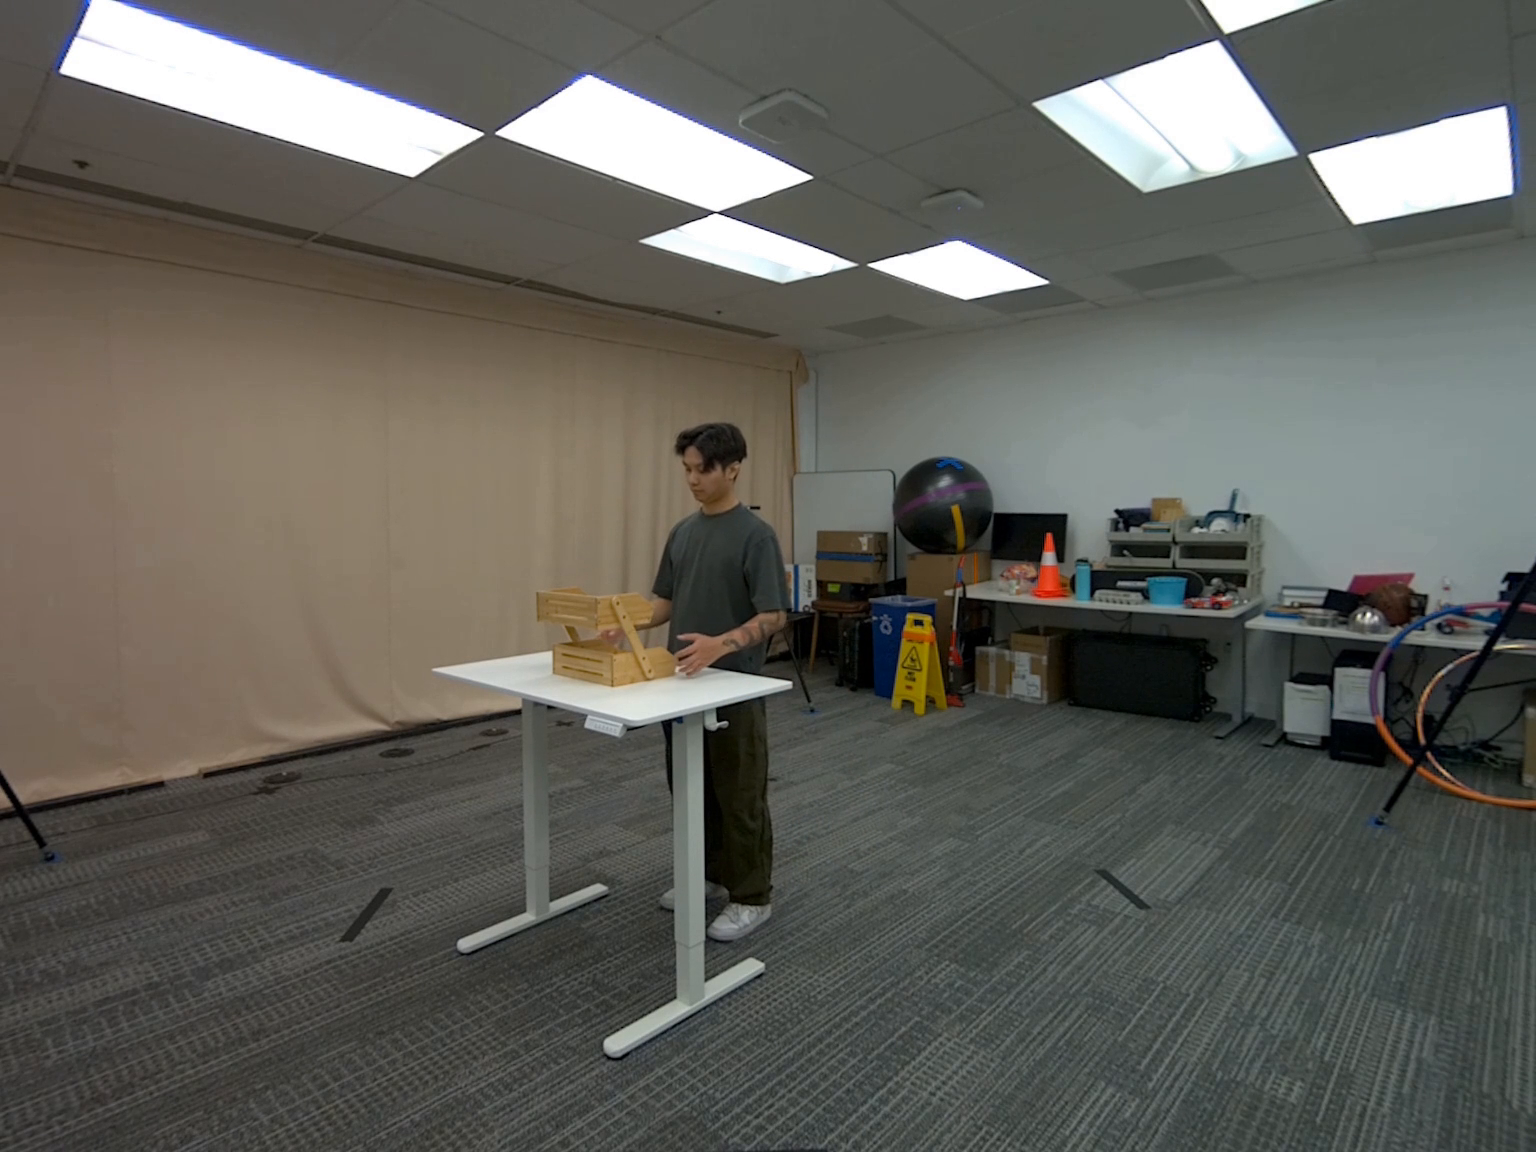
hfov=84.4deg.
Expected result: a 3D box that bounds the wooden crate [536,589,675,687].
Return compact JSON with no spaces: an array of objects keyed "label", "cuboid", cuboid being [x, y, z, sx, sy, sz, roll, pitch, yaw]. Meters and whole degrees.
[{"label":"wooden crate","cuboid":[-0.482,0.168,2.547,0.335,0.273,0.293,2,5,43]}]
